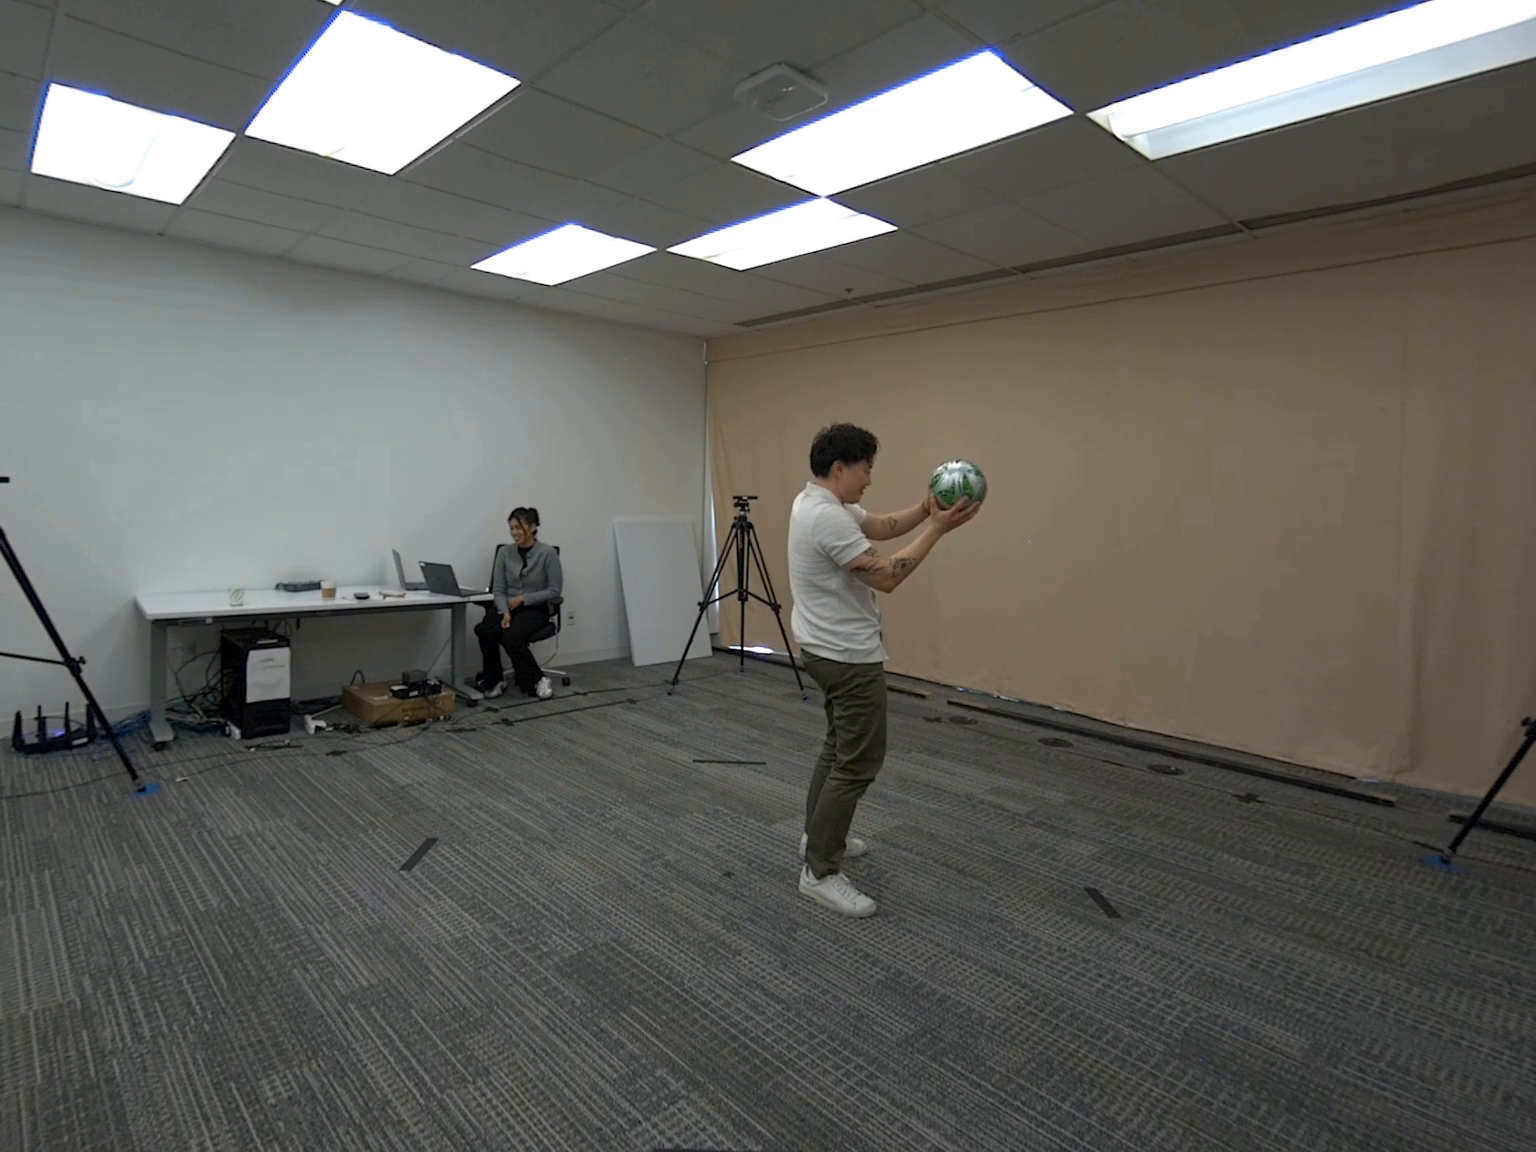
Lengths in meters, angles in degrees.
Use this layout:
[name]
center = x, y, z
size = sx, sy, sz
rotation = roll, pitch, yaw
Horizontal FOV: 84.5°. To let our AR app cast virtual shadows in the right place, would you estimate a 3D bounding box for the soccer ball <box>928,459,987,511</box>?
[soccer ball]
center = 0.611, -0.291, 2.780
size = 0.187, 0.187, 0.188
rotation = 1, 4, -1
